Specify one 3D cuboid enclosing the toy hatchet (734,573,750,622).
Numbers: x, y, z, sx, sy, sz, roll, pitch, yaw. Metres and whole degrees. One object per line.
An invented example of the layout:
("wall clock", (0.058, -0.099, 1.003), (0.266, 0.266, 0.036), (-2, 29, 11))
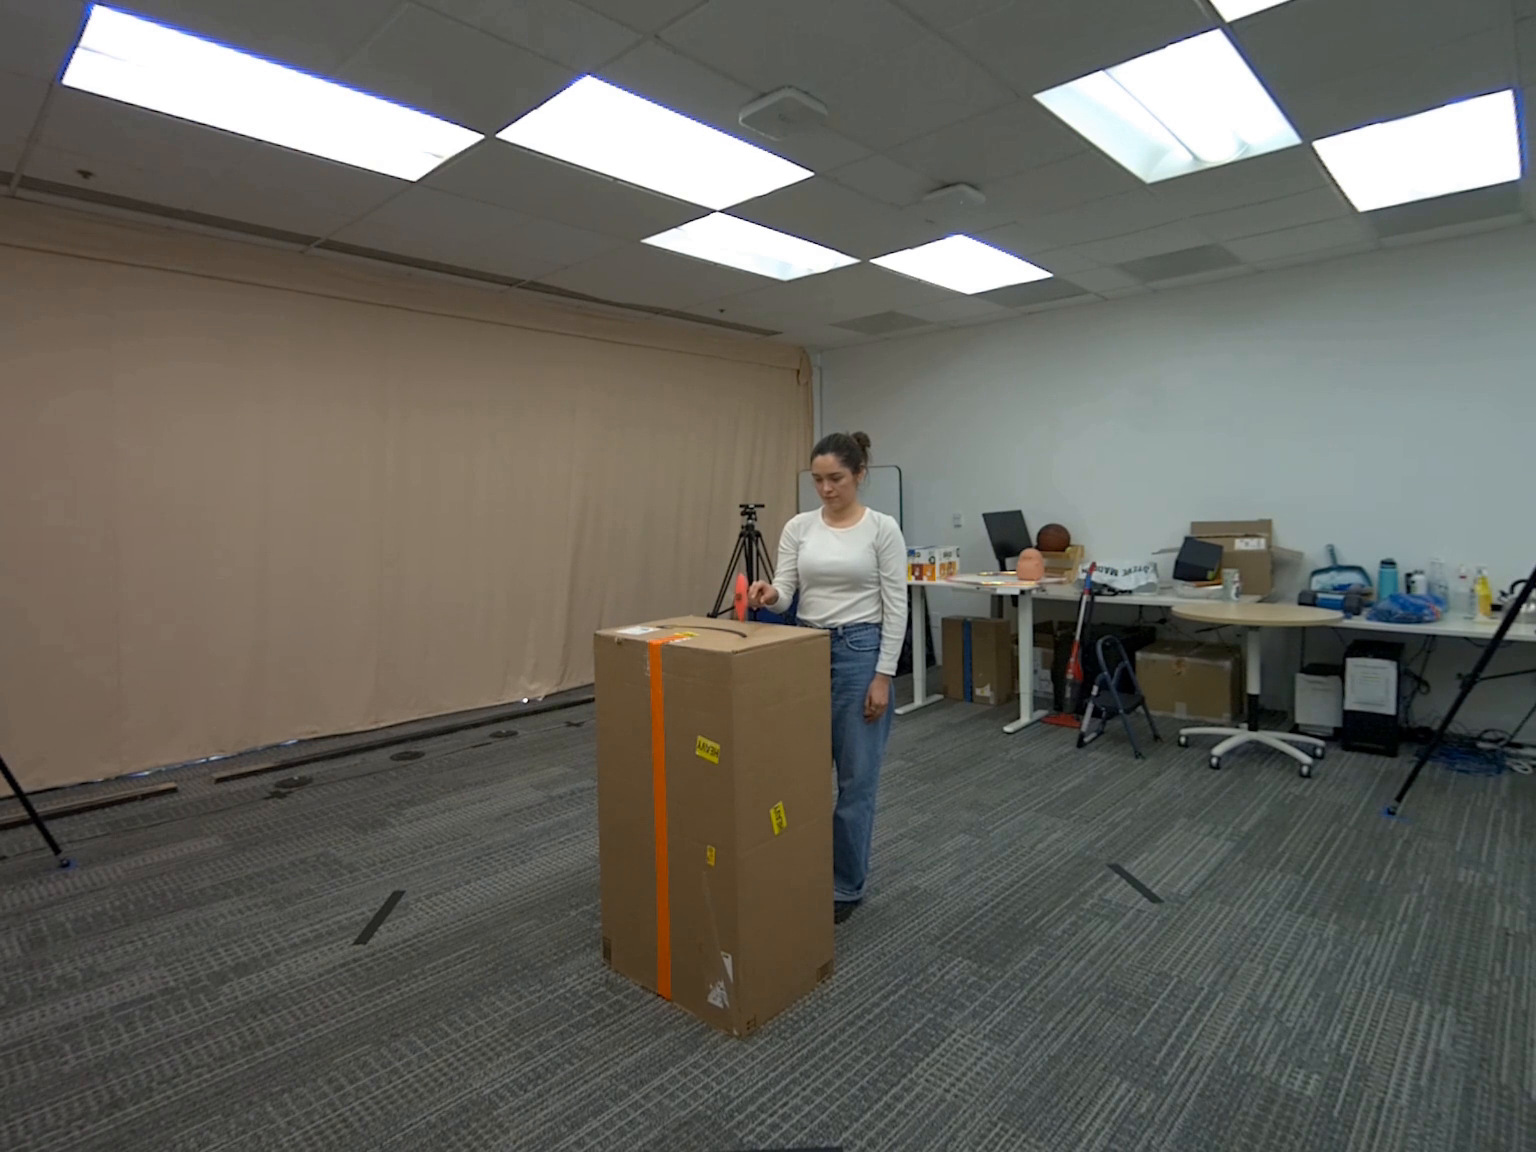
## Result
("toy hatchet", (-0.059, 0.046, 2.497), (0.030, 0.130, 0.268), (-5, 9, 11))
